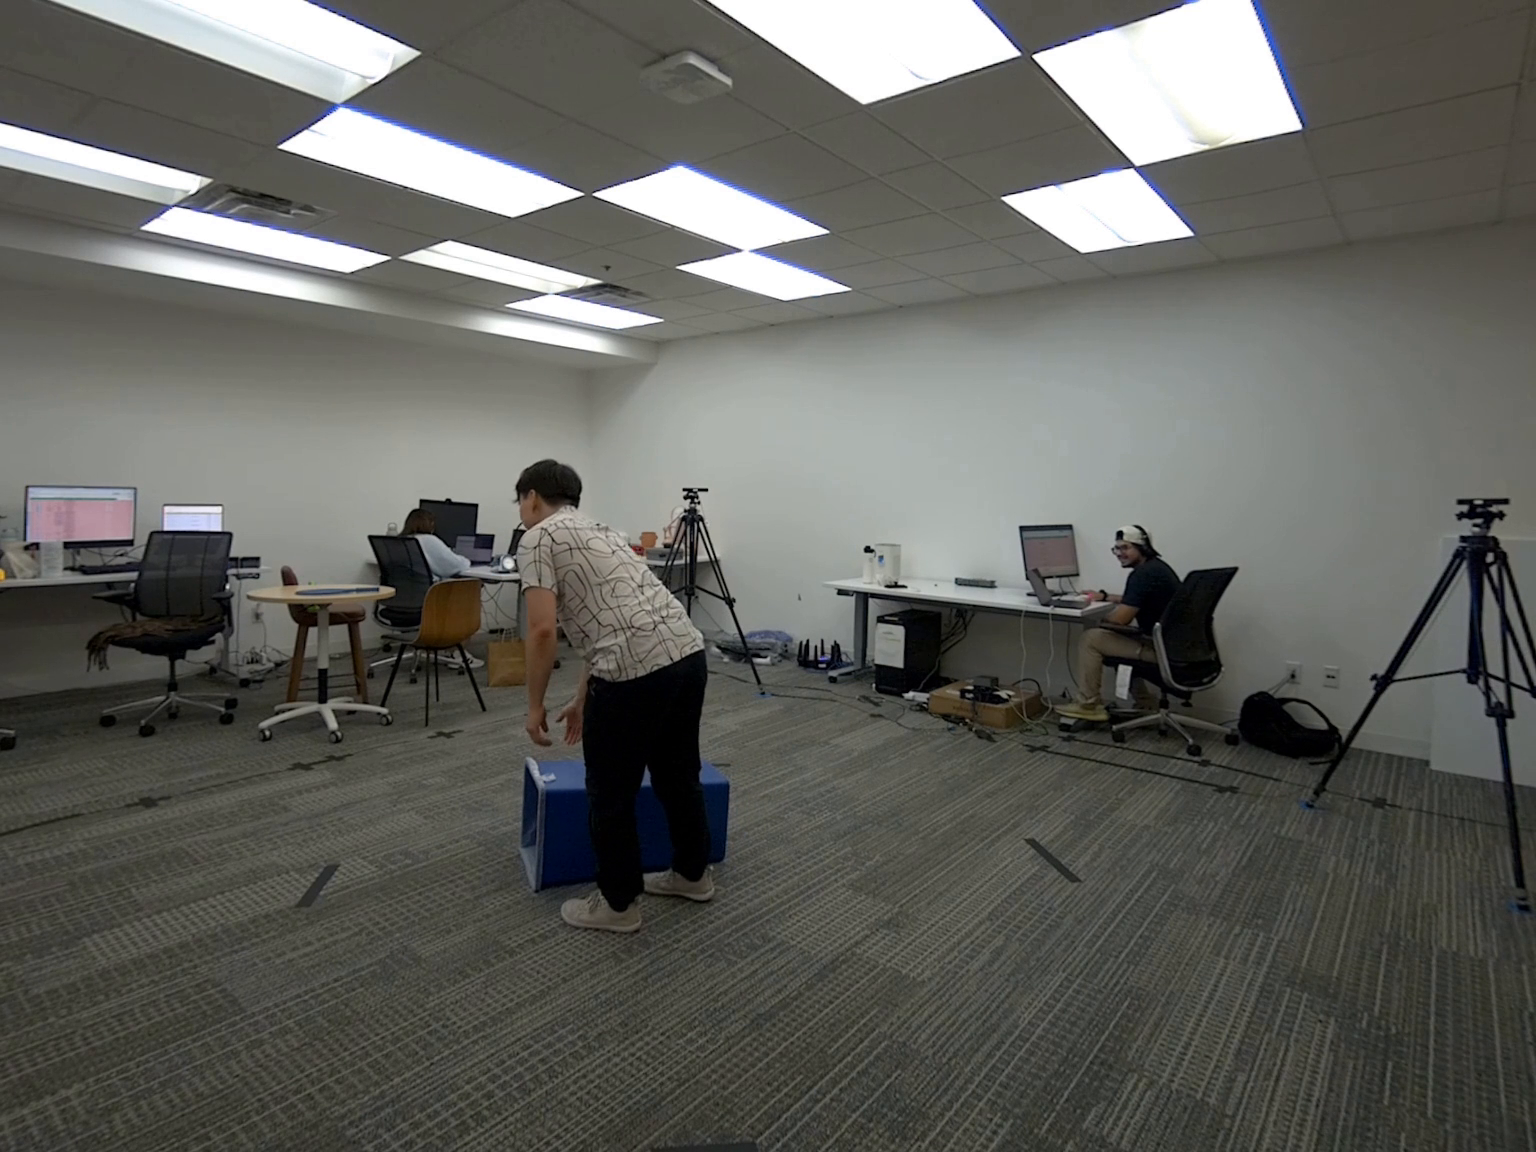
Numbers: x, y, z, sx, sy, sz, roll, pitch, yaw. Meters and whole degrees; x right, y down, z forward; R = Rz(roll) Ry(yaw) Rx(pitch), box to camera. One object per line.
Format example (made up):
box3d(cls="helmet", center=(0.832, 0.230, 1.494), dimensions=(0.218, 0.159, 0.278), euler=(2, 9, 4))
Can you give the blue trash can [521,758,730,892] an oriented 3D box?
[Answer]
box3d(cls="blue trash can", center=(-0.543, 0.892, 3.174), dimensions=(0.698, 0.373, 0.387), euler=(3, 4, -22))
